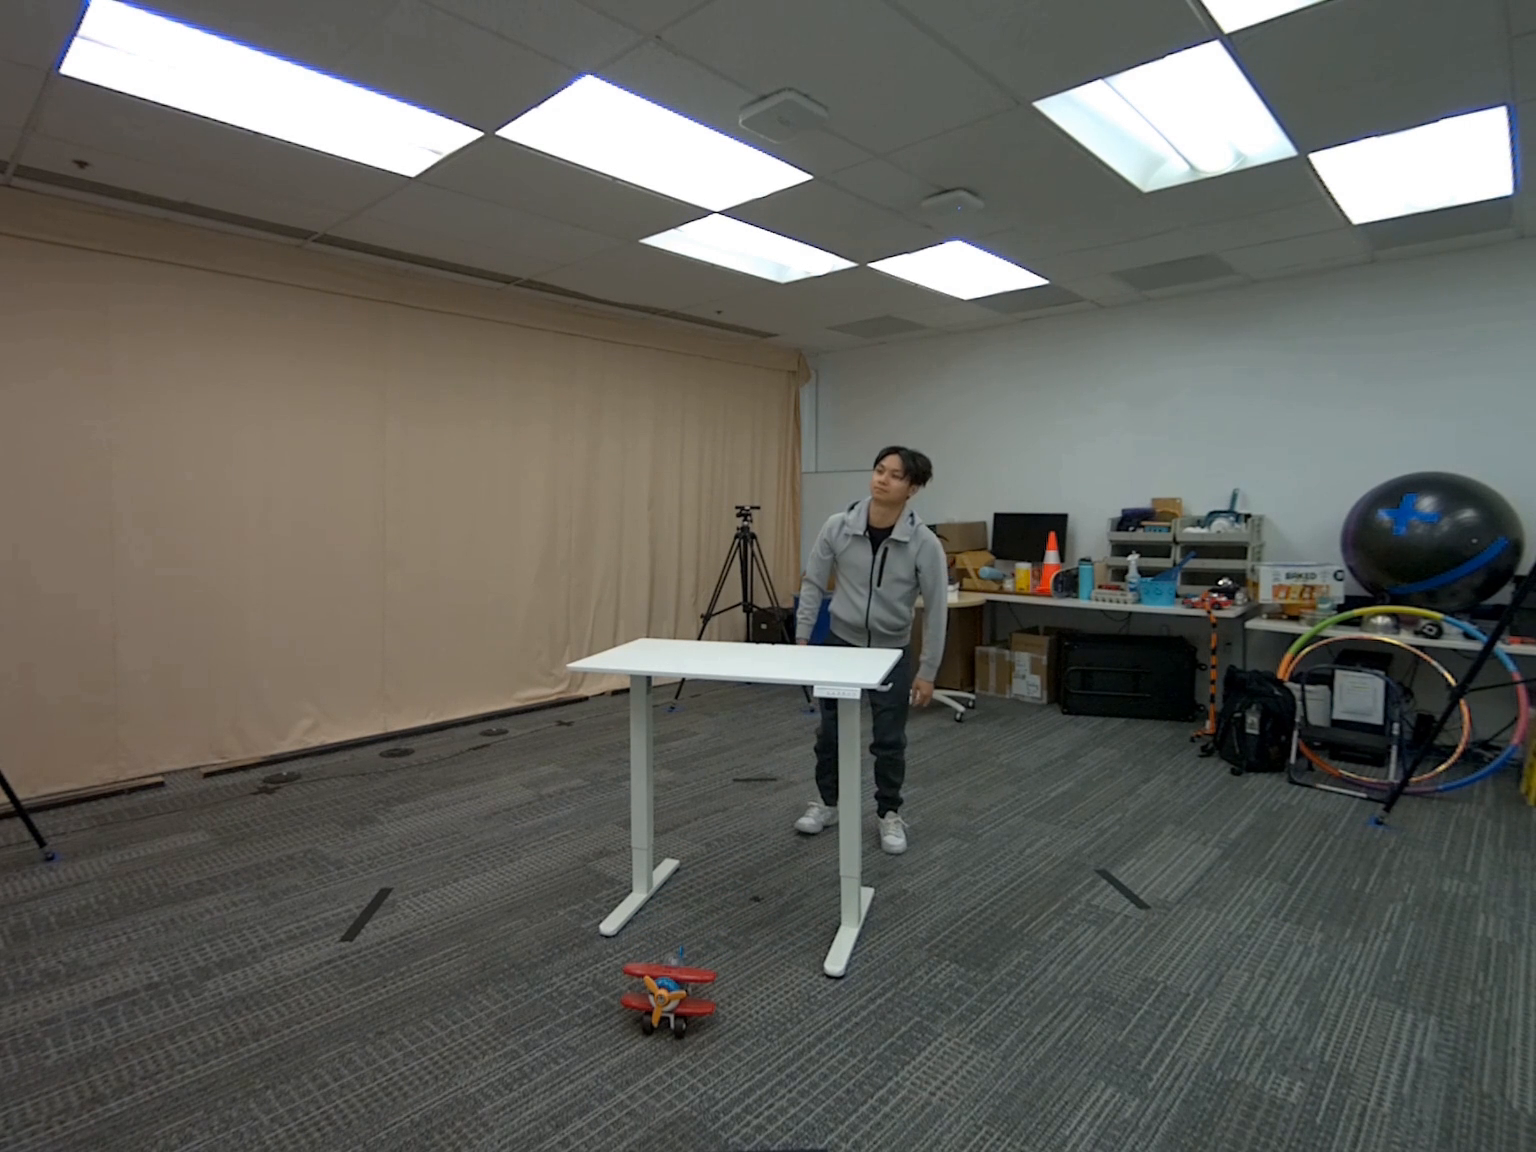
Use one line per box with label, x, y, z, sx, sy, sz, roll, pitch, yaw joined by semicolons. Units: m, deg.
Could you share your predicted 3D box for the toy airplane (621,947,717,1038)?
toy airplane;-0.280;1.132;2.296;0.246;0.156;0.265;-2;5;-20
